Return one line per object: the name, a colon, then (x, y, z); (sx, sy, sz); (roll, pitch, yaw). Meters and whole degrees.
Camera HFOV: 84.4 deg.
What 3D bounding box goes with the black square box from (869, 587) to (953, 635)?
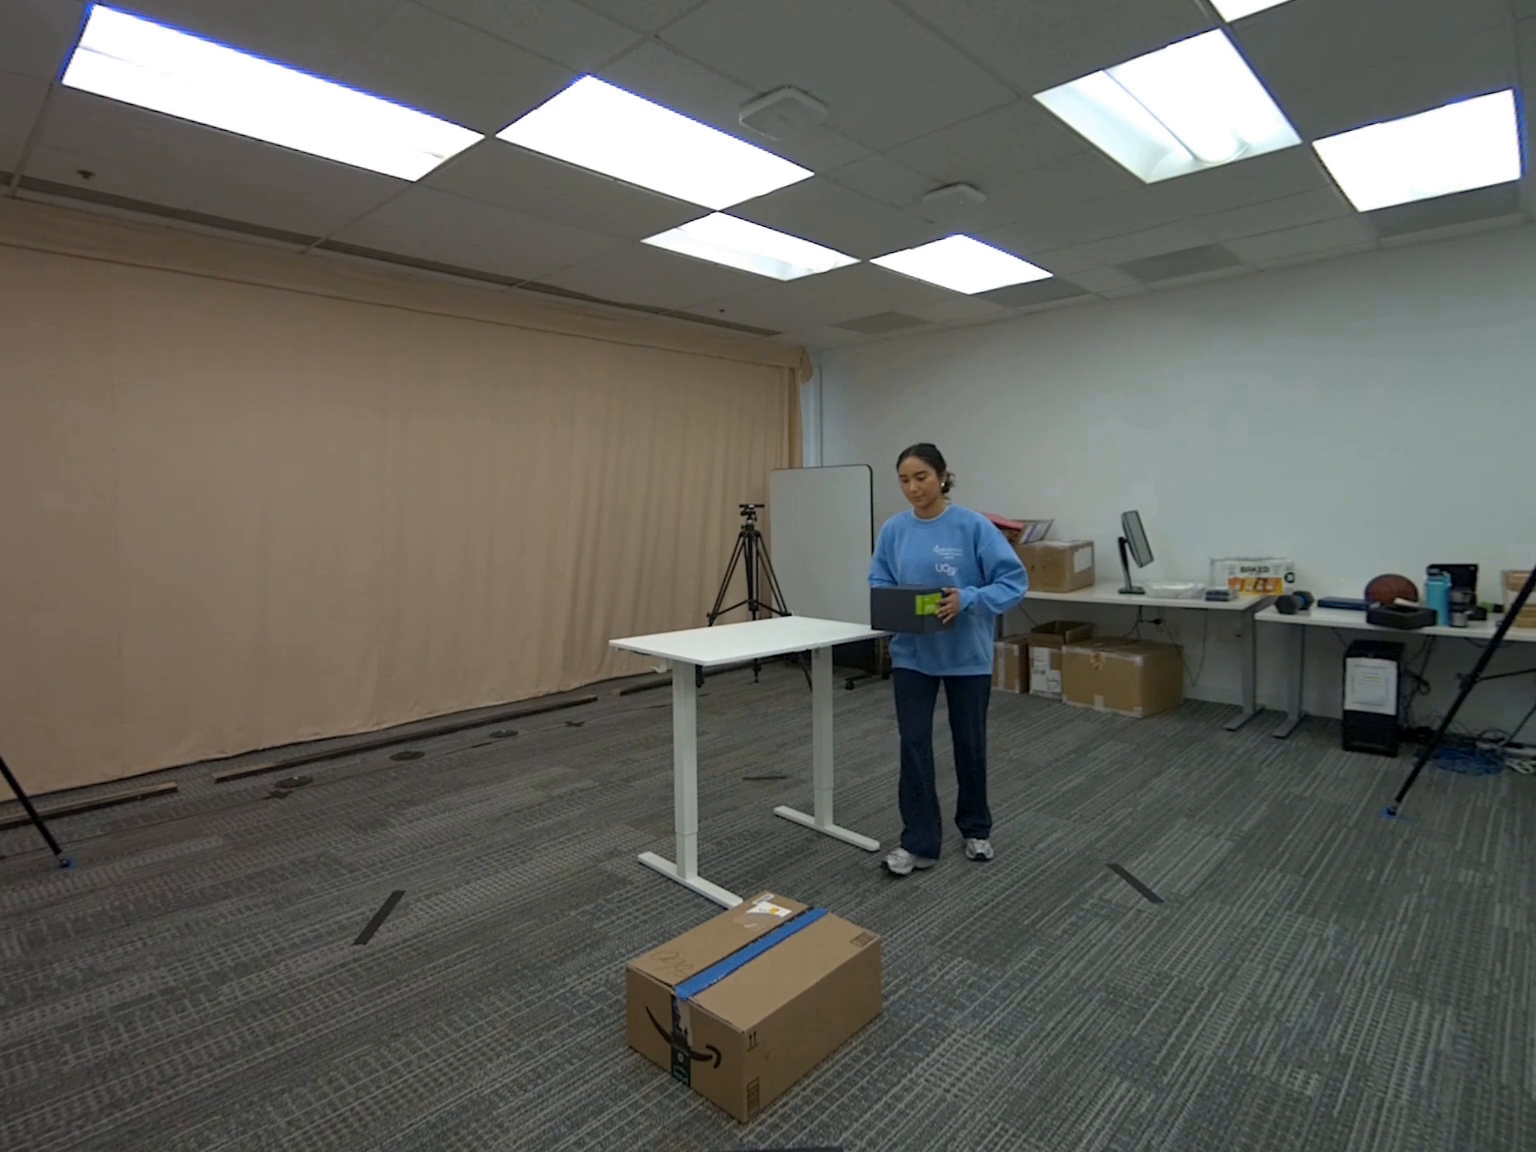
black square box: (0.524, 0.116, 3.033); (0.224, 0.156, 0.221); (2, 3, 38)
